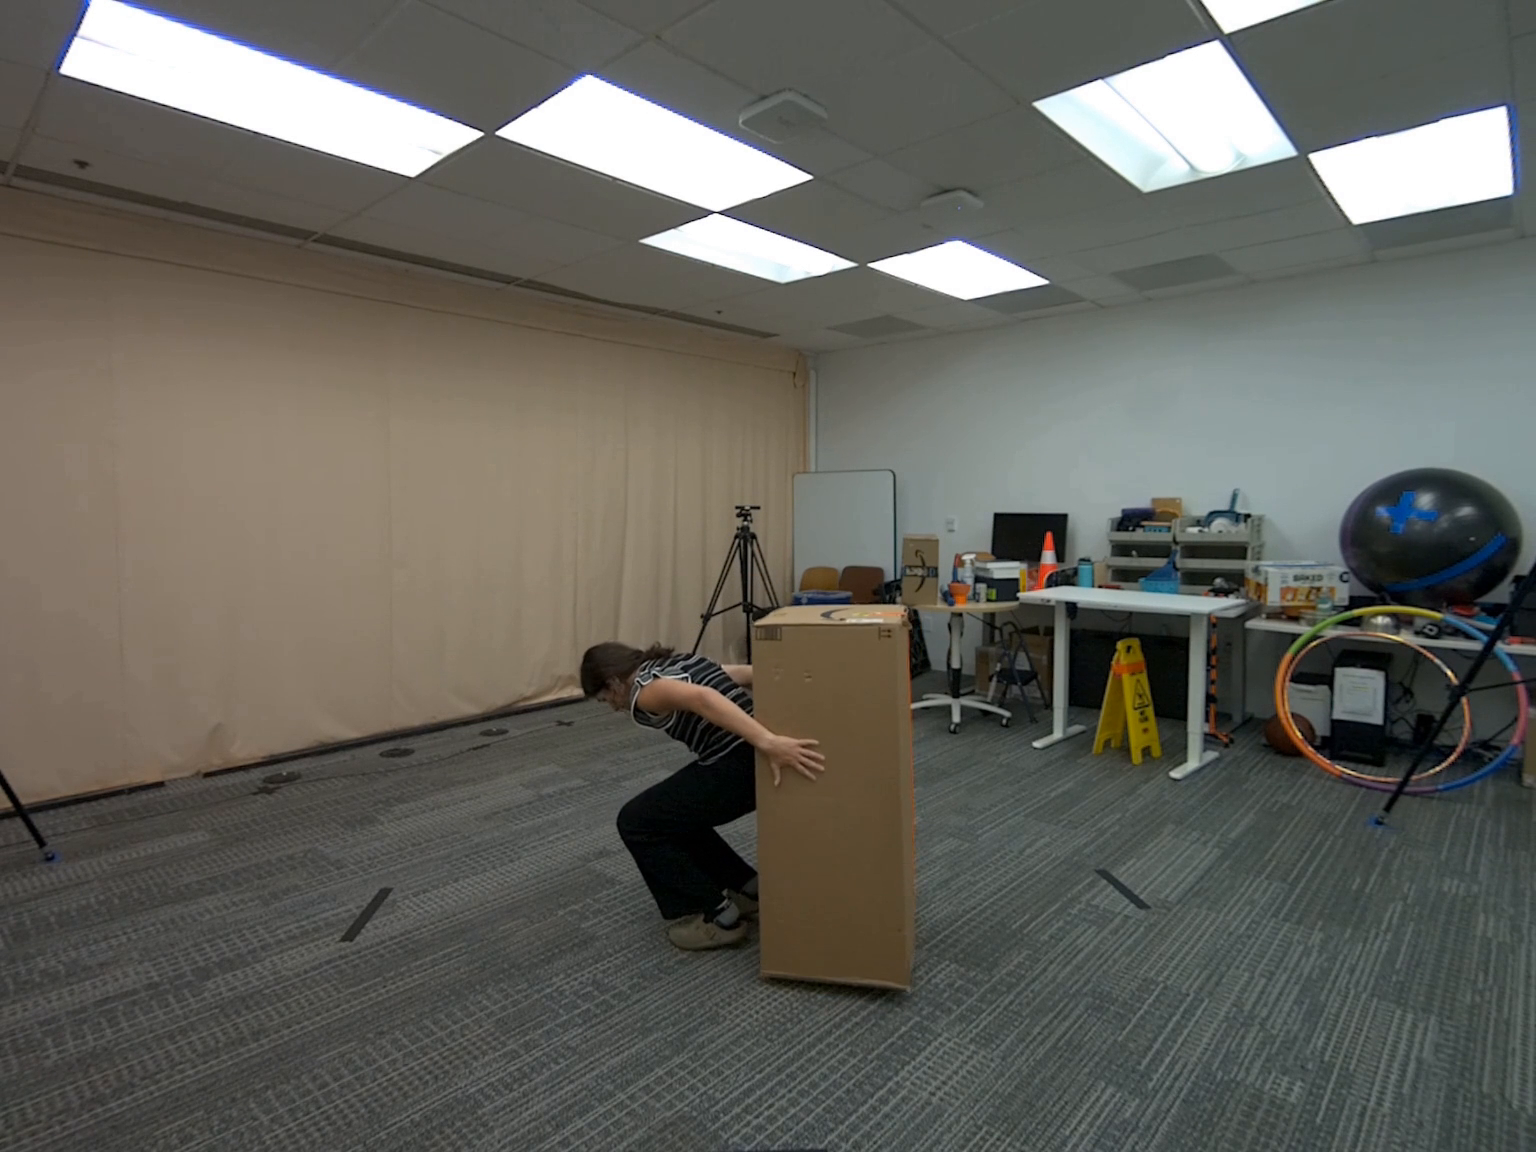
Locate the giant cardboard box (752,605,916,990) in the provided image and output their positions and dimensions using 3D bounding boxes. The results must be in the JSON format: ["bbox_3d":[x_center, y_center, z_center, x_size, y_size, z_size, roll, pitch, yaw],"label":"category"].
[{"bbox_3d":[0.233,0.616,2.655,0.432,1.025,0.569,-2,1,13],"label":"giant cardboard box"}]
